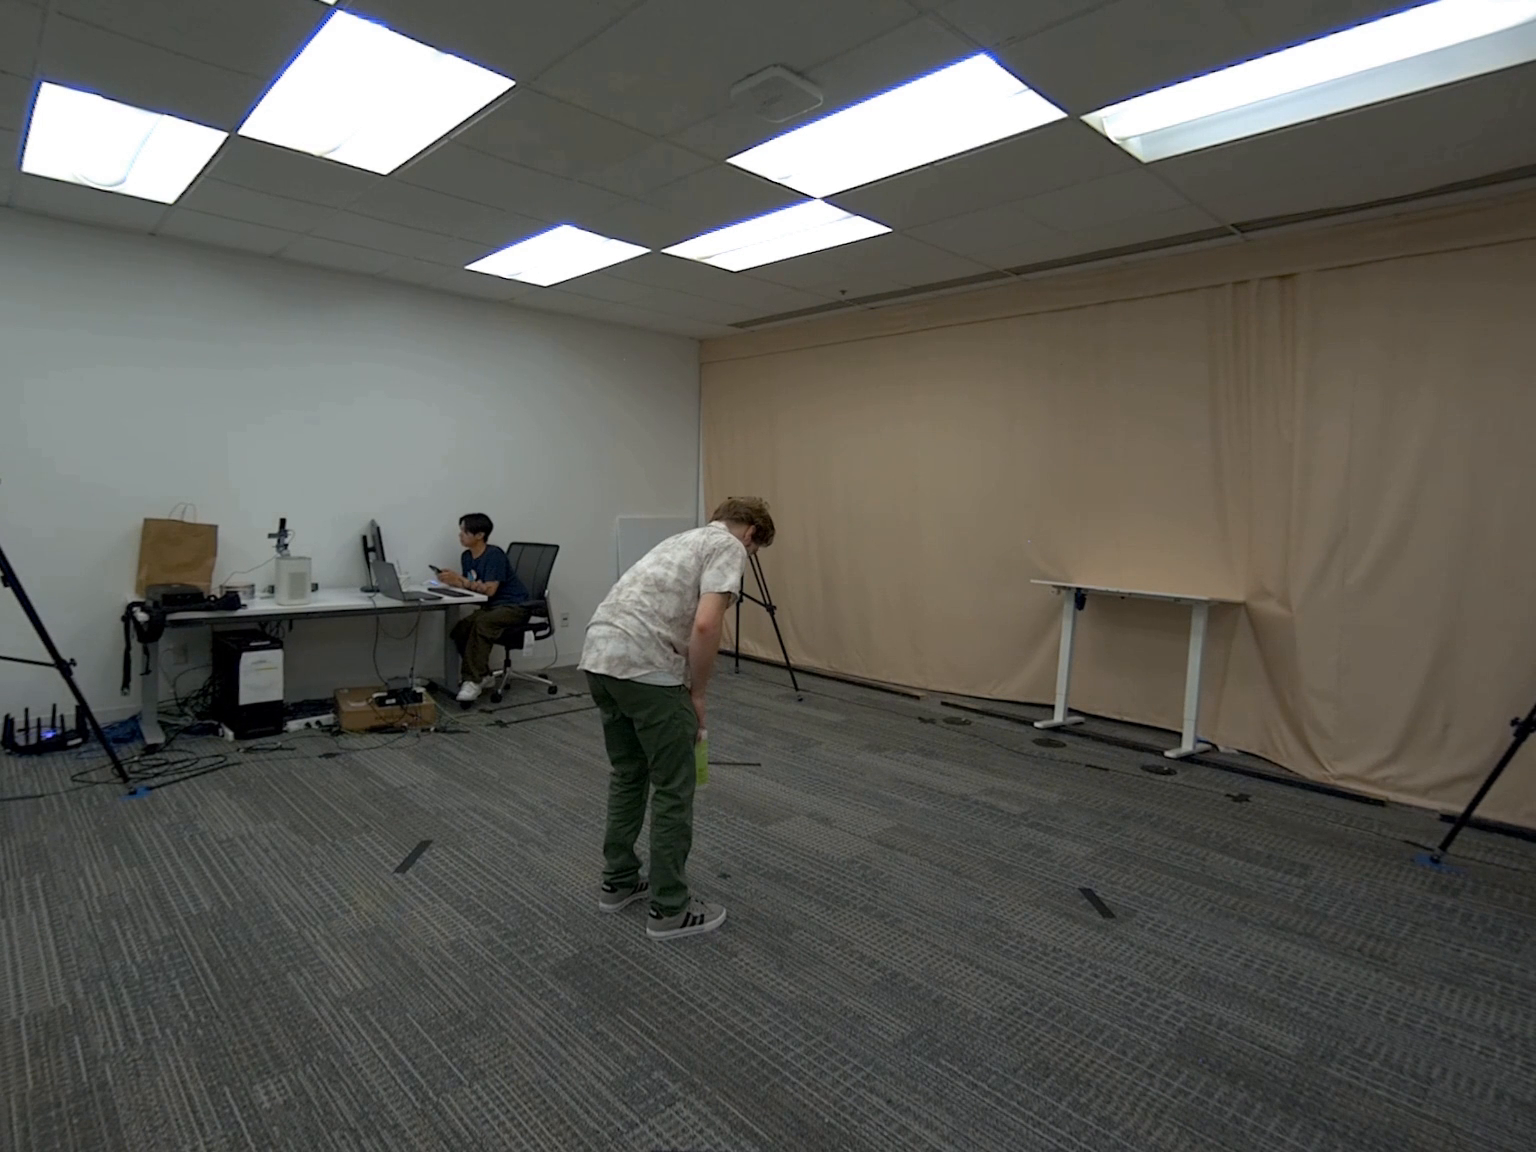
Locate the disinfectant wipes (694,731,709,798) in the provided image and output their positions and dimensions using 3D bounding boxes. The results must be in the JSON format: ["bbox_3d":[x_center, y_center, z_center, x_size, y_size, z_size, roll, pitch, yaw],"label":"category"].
[{"bbox_3d":[-0.285,0.696,3.138,0.118,0.218,0.117,0,-2,-1],"label":"disinfectant wipes"}]
